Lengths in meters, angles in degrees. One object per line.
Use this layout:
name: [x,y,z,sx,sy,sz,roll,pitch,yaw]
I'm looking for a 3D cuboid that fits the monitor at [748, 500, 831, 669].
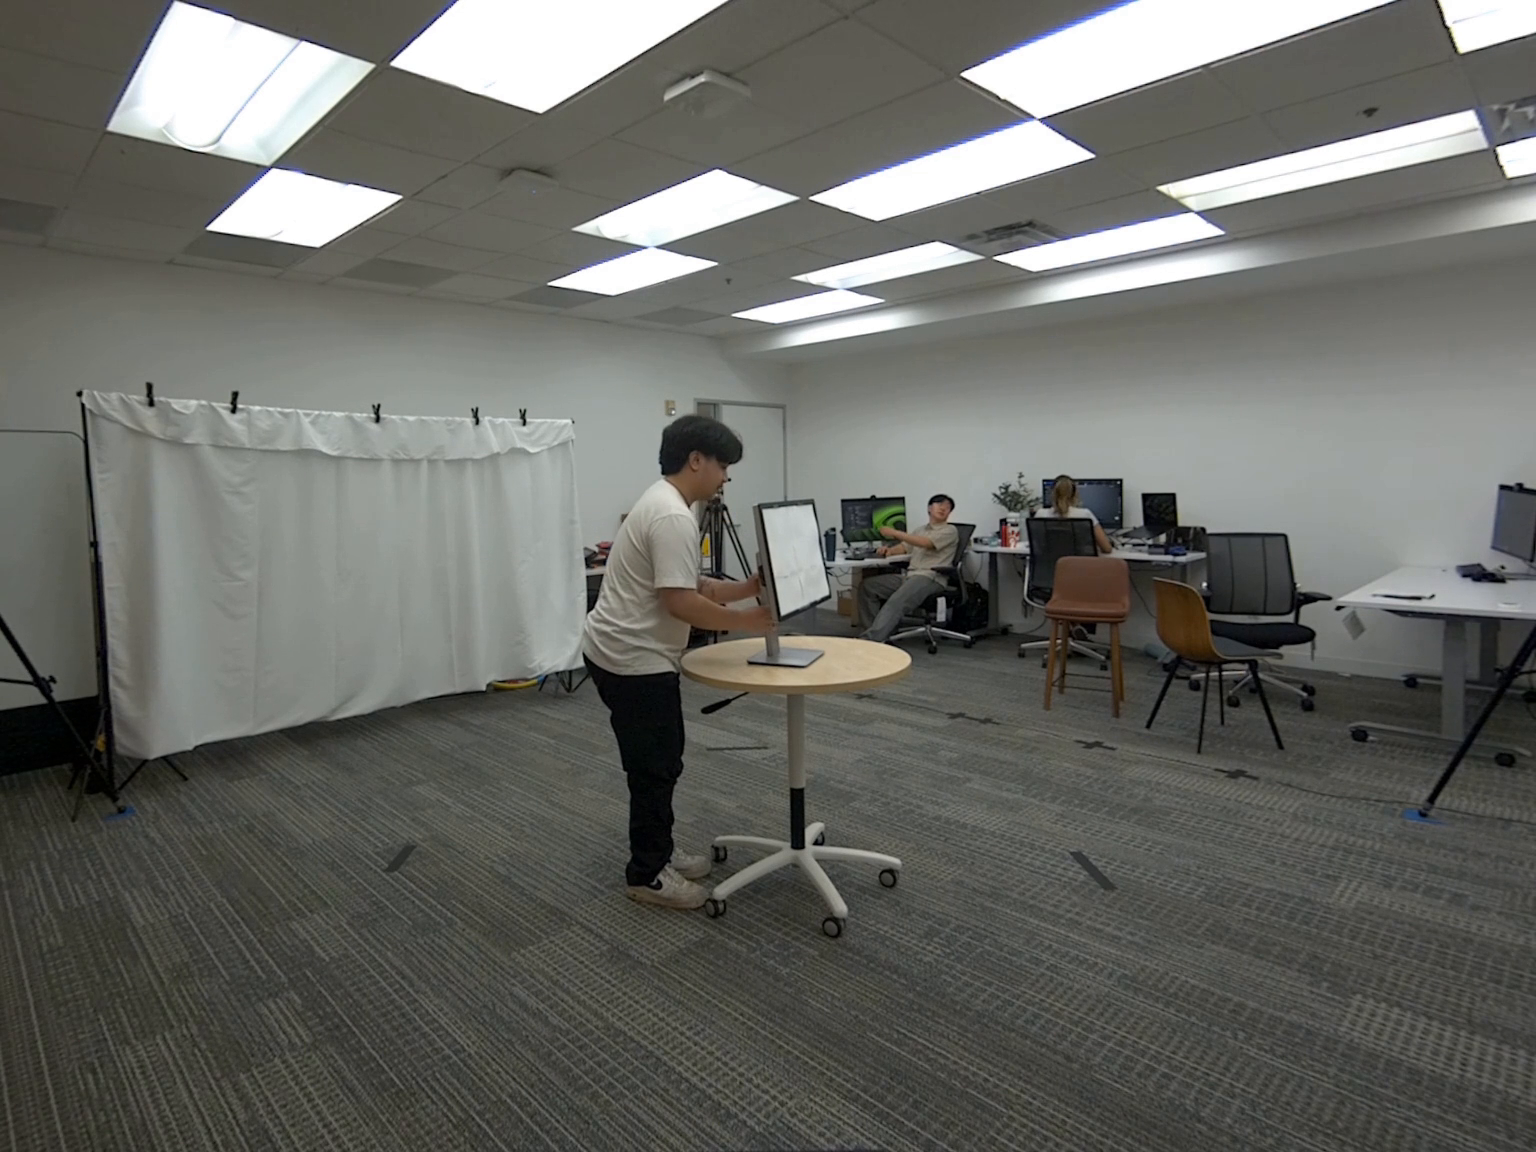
monitor: [0.031,0.022,2.850,0.214,0.553,0.556,-4,3,22]
